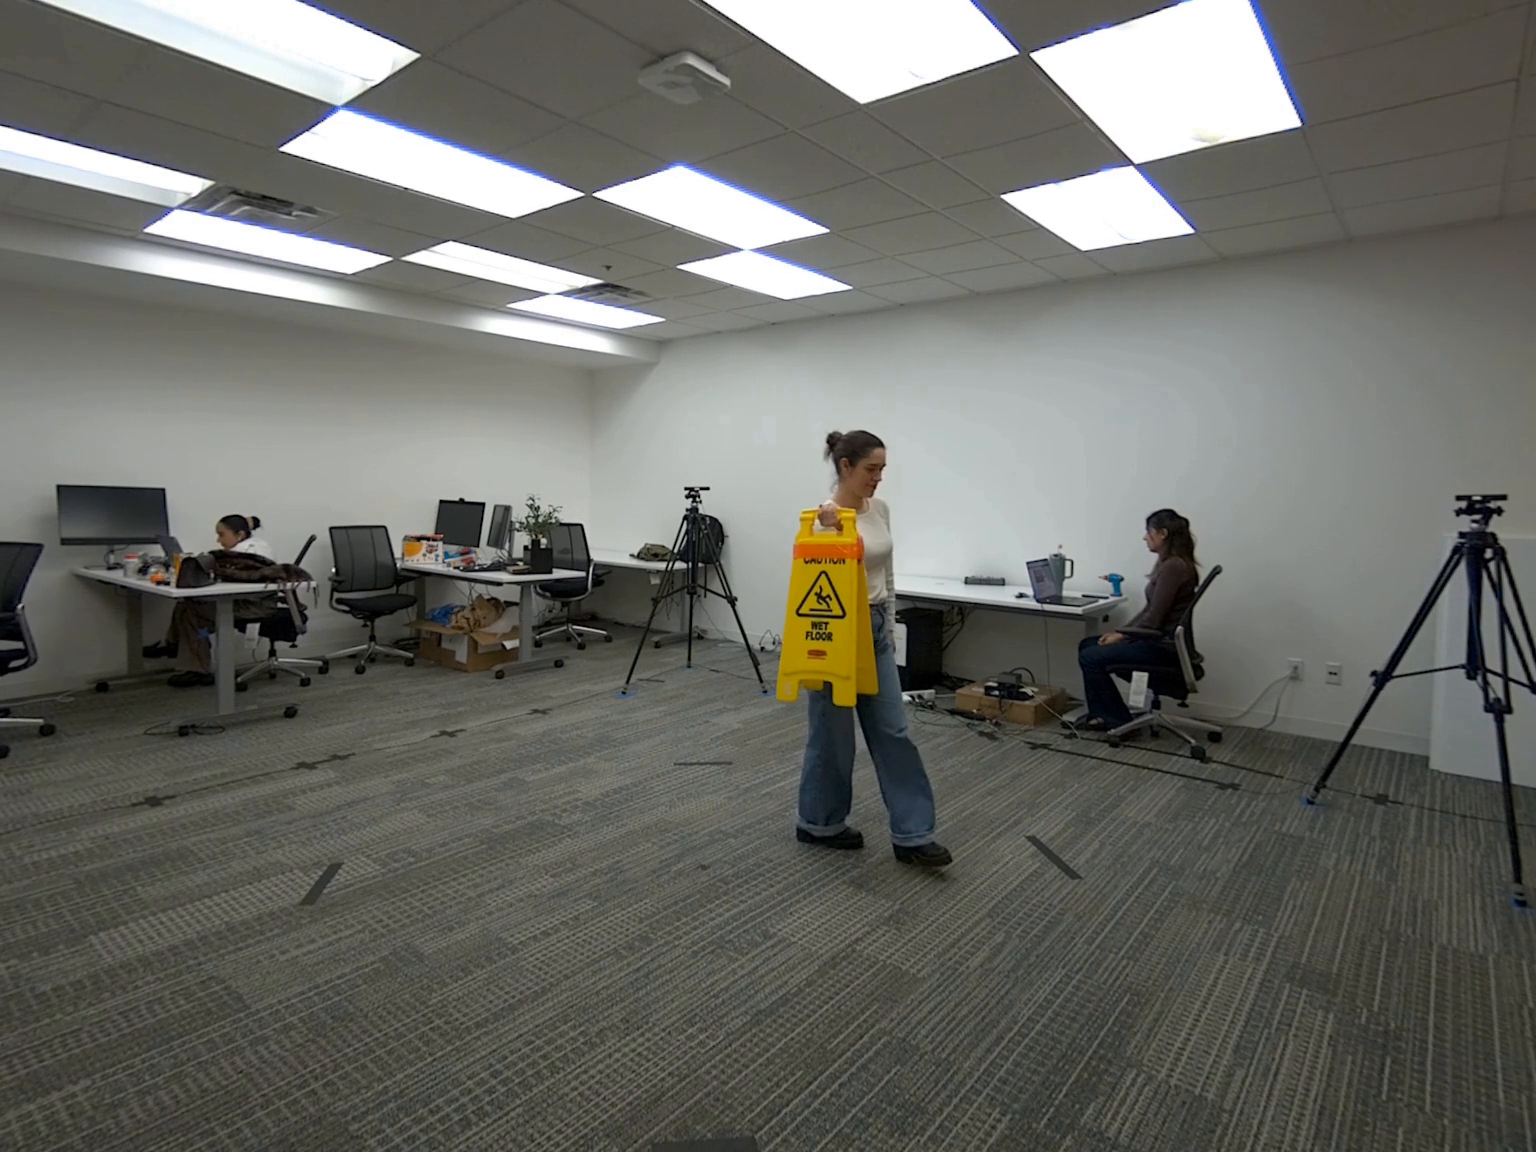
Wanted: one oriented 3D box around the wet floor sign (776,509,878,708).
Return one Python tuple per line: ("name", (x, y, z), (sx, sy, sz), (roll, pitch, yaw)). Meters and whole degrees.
("wet floor sign", (0.204, 0.087, 2.934), (0.289, 0.647, 0.282), (0, -1, 25))
